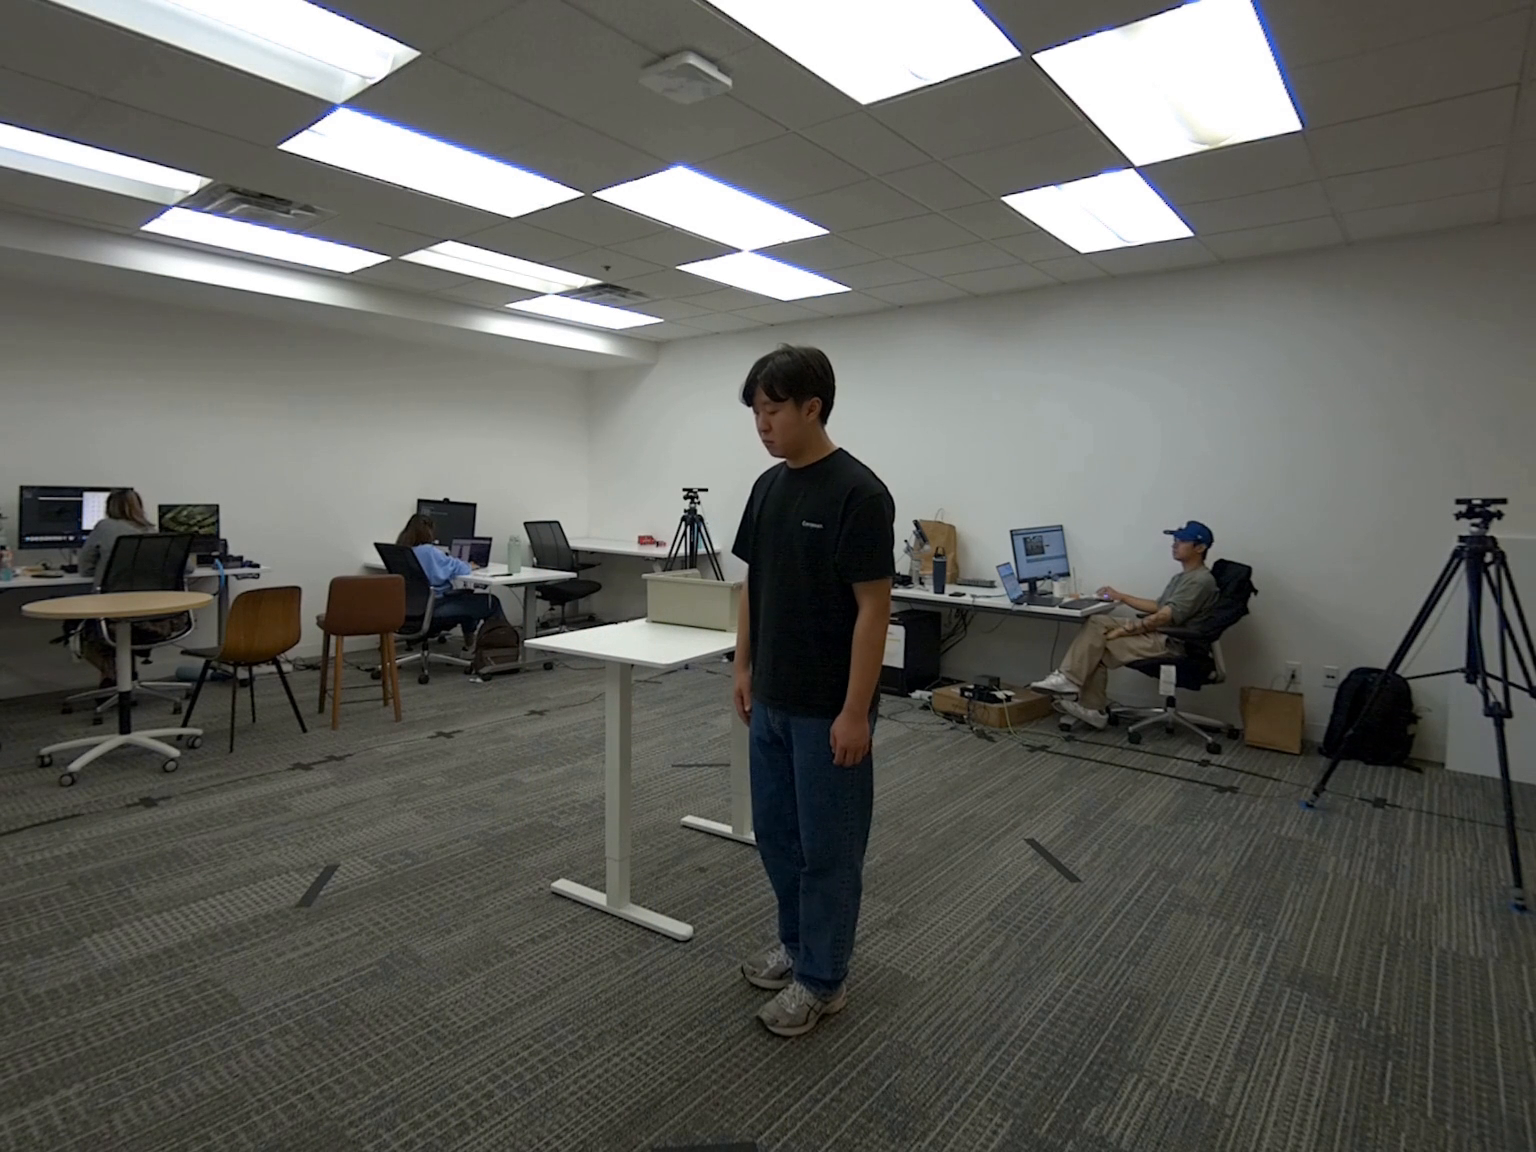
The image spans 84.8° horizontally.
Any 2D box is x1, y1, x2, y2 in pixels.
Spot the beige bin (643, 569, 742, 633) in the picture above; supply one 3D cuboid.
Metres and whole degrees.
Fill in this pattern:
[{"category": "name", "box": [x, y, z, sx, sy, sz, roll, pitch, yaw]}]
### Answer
[{"category": "beige bin", "box": [-0.209, 0.084, 3.238, 0.436, 0.188, 0.367, 5, 8, 35]}]
